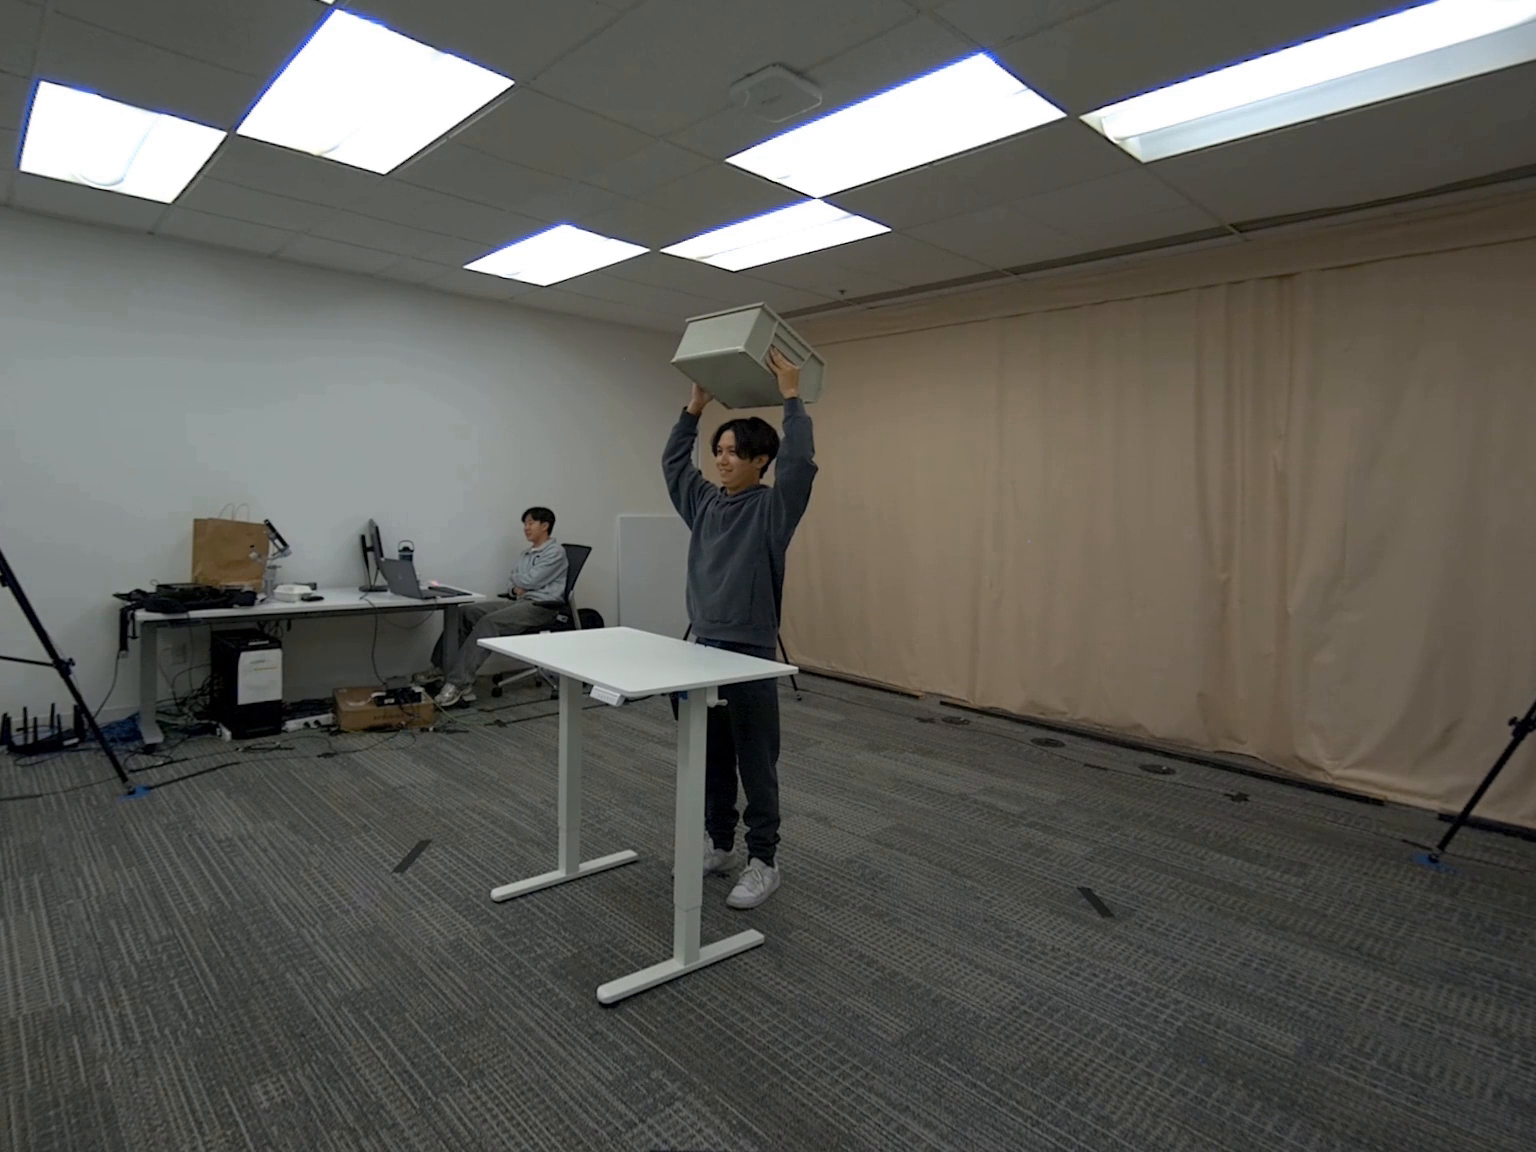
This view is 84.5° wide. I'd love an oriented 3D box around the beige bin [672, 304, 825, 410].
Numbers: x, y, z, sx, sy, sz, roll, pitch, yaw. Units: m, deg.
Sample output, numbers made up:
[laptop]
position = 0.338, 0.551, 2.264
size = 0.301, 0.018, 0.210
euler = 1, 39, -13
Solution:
[beige bin]
position = -0.076, -0.742, 2.957
size = 0.366, 0.190, 0.433
euler = 33, -16, -39
